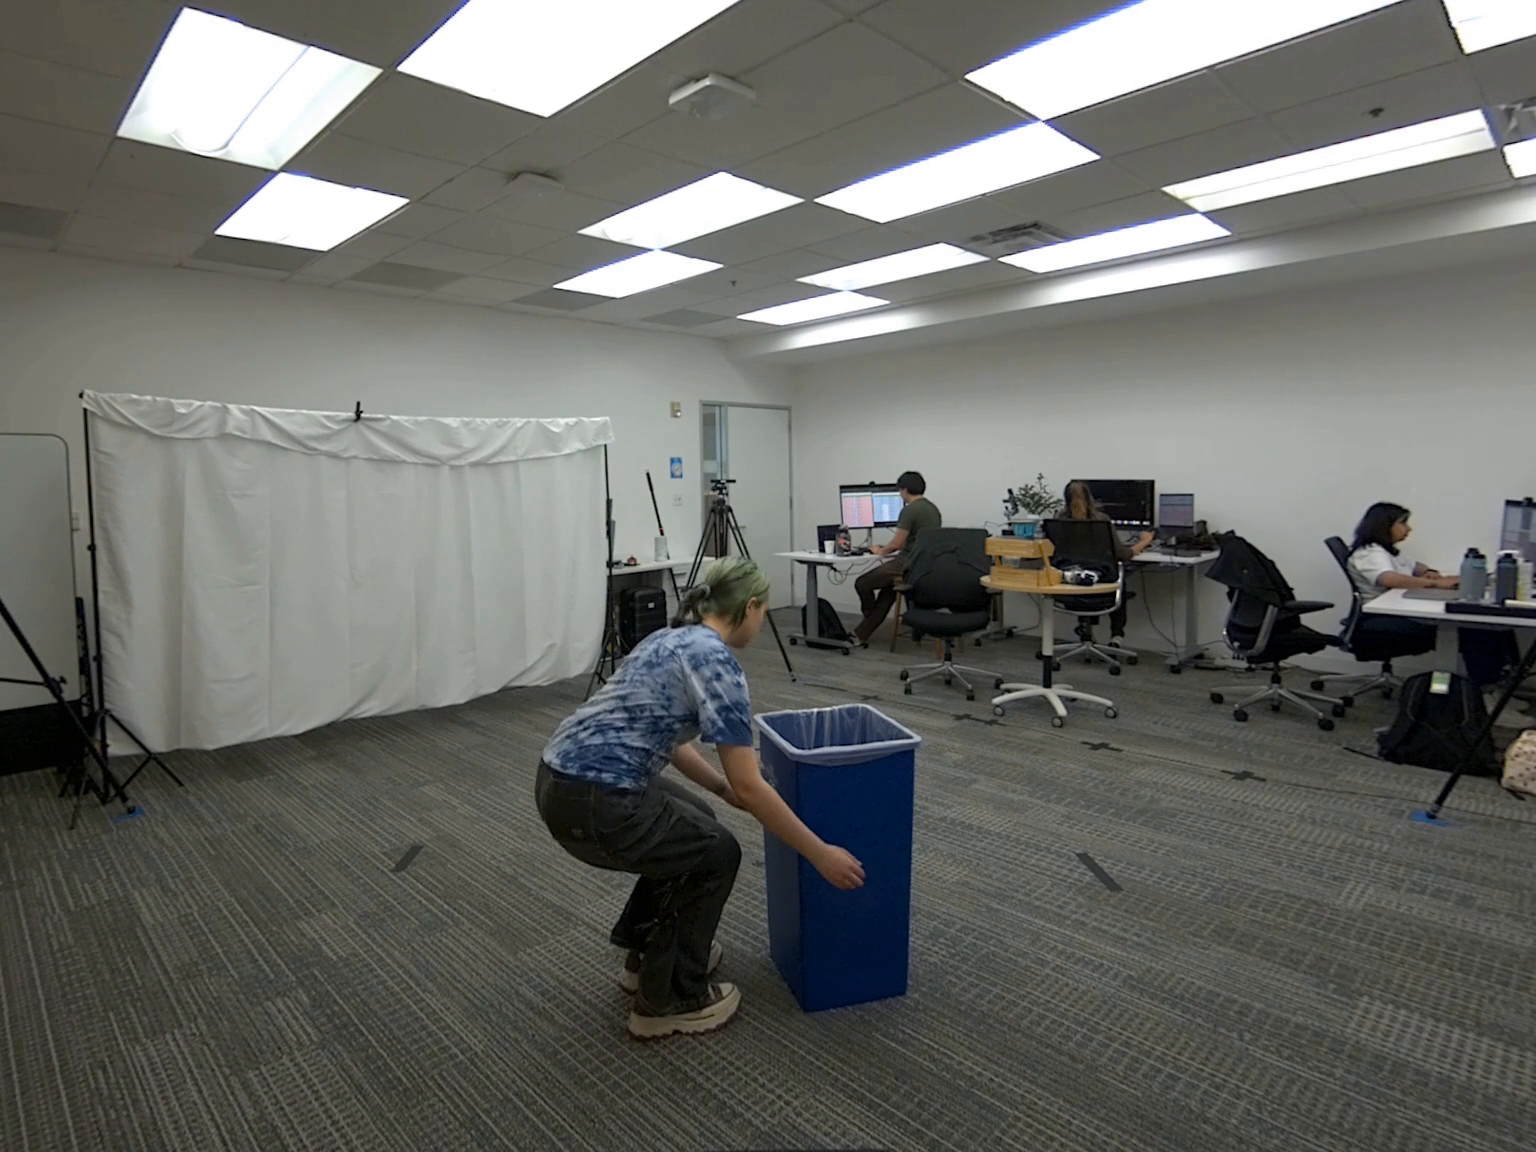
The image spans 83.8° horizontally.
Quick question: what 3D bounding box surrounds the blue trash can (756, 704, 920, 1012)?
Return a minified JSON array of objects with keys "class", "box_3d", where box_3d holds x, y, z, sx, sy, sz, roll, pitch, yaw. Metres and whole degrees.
[{"class":"blue trash can","box_3d":[0.198,0.771,2.384,0.372,0.710,0.381,-3,5,-17]}]
